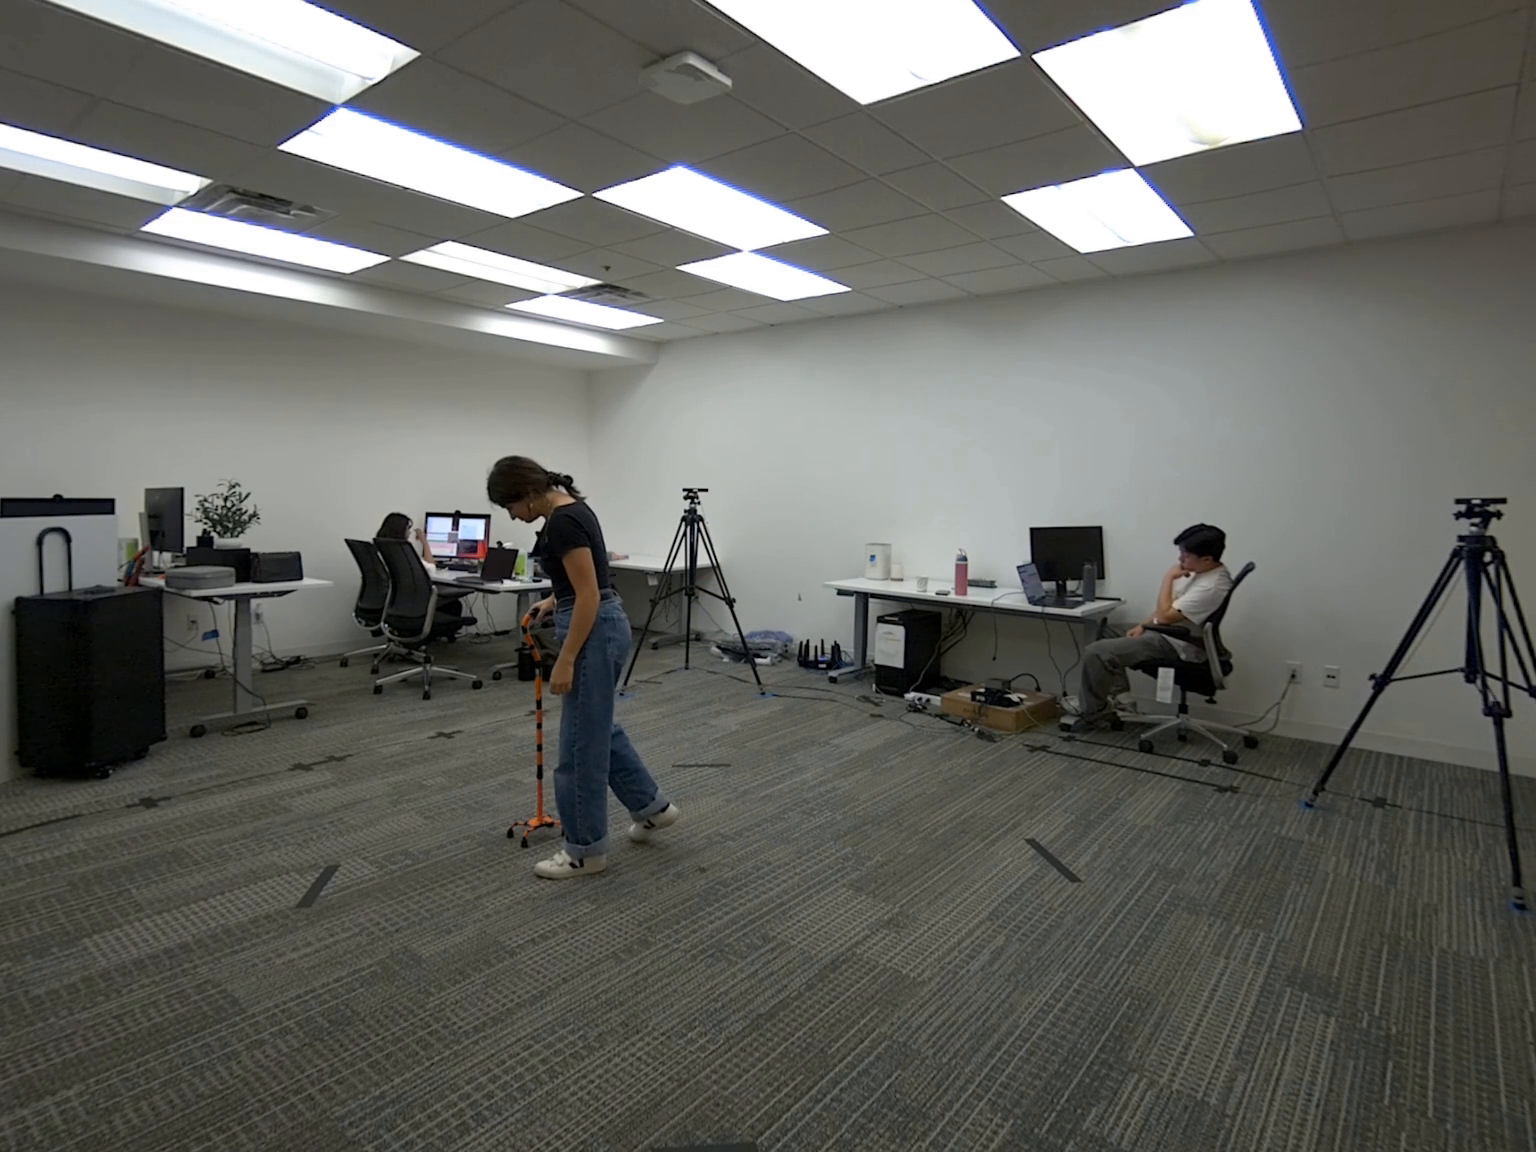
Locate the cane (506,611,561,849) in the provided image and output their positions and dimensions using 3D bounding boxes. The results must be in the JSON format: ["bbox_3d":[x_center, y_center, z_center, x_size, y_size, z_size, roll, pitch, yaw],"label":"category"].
[{"bbox_3d":[-0.926,0.579,3.367,0.200,0.906,0.156,-3,3,-42],"label":"cane"}]
